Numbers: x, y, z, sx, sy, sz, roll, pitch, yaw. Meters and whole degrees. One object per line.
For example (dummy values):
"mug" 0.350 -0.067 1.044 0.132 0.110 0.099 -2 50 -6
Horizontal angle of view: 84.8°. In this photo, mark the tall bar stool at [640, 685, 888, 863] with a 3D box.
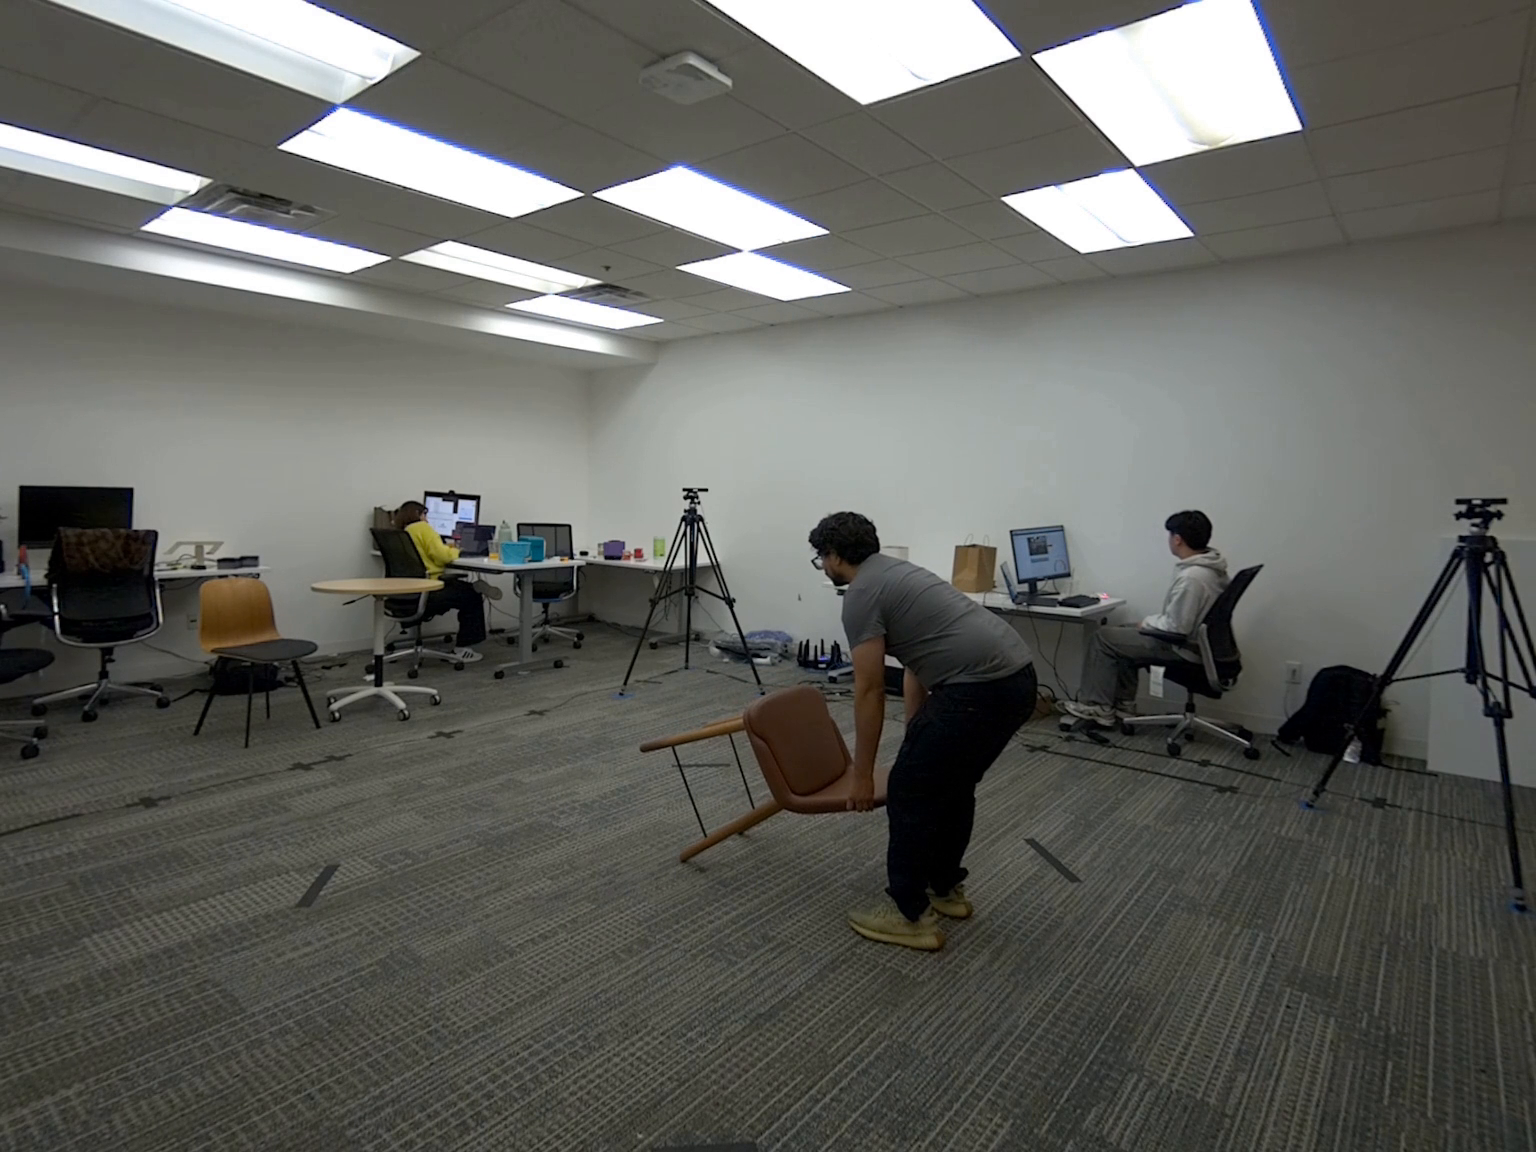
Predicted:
"tall bar stool" 0.011 0.679 3.115 0.902 0.475 0.443 -27 -14 35
